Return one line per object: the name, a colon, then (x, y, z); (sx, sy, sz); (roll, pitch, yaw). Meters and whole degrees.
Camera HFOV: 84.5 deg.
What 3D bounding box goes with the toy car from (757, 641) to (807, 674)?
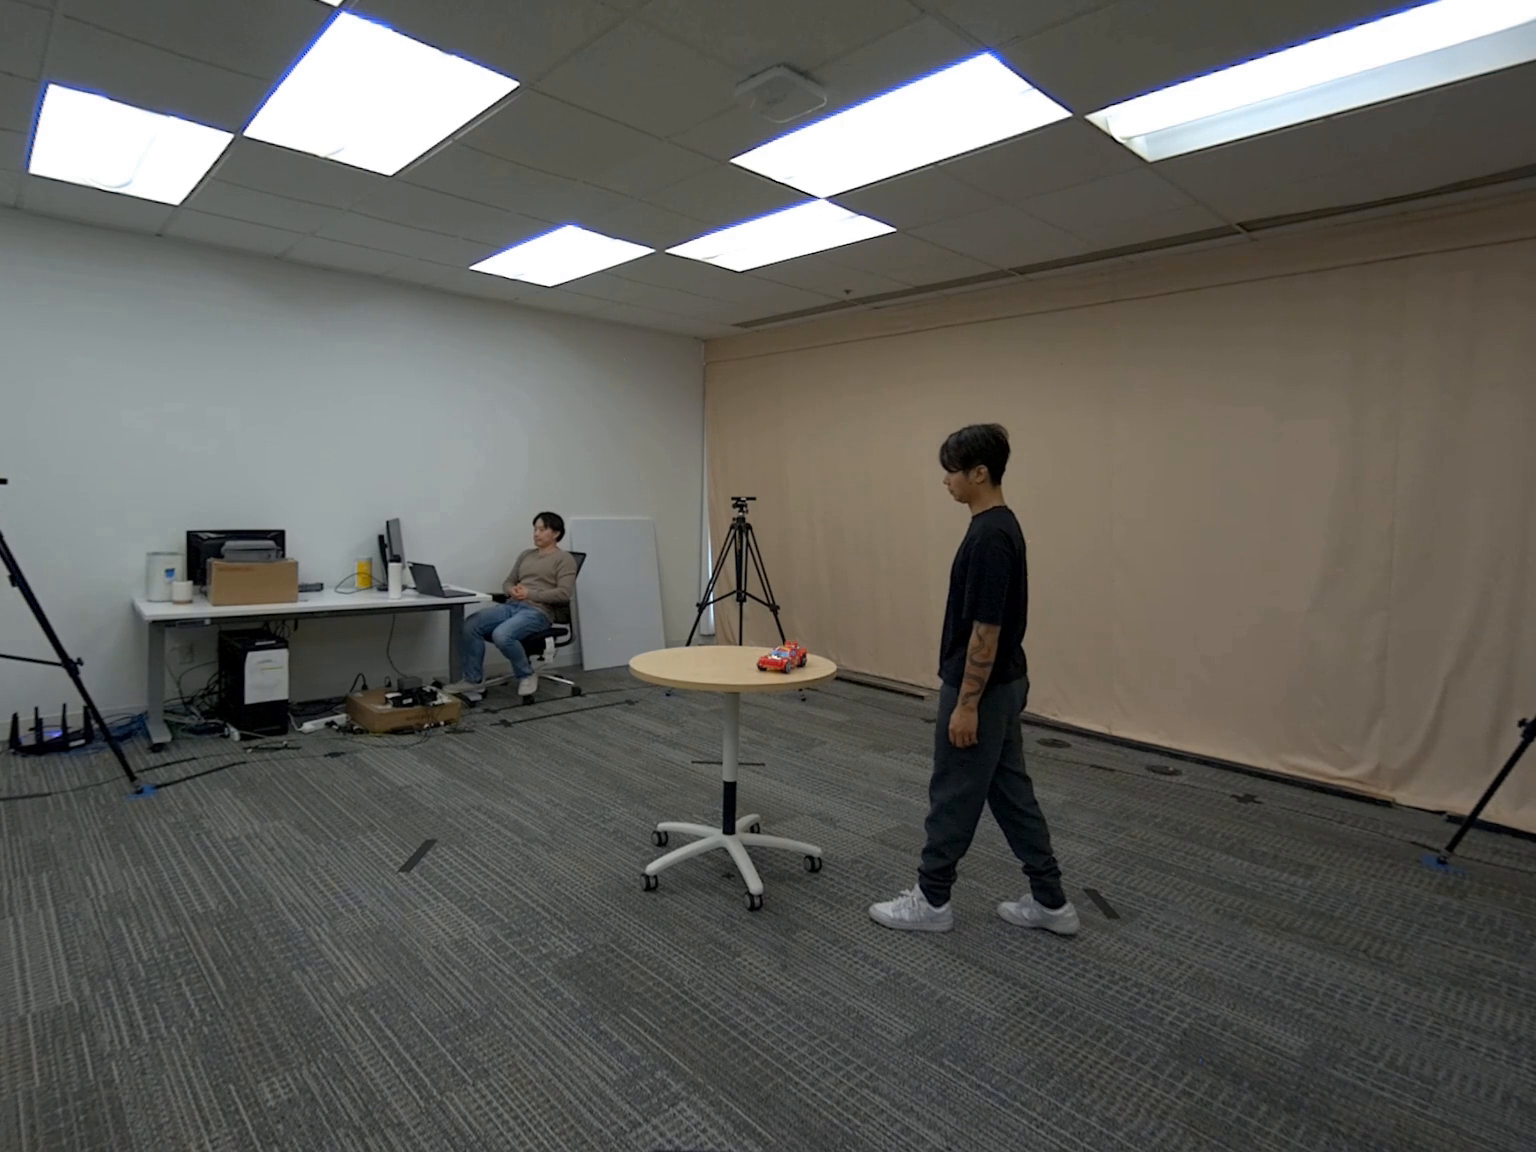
toy car: (0.056, 0.299, 3.039); (0.133, 0.082, 0.252); (2, 16, 24)
